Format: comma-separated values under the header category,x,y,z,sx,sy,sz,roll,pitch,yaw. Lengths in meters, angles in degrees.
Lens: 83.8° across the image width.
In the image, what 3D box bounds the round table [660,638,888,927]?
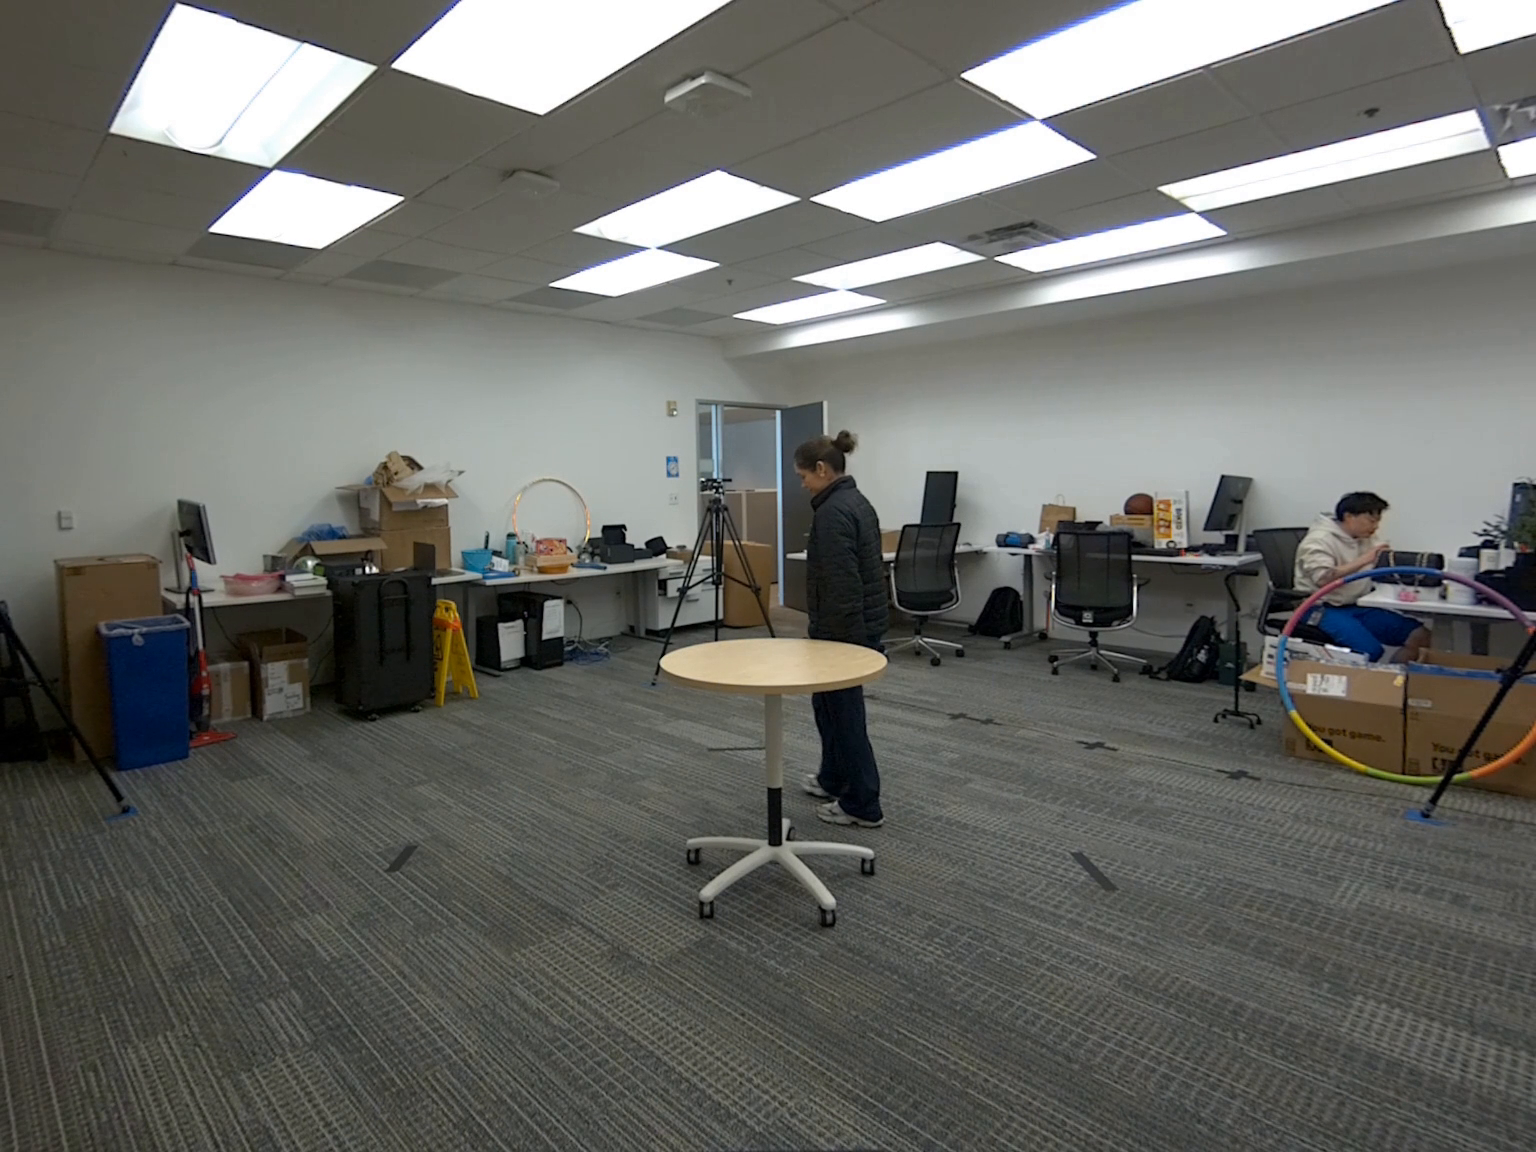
category,x,y,z,sx,sy,sz,roll,pitch,yaw
round table,0.006,0.670,2.933,0.784,0.783,0.789,-1,5,-2
